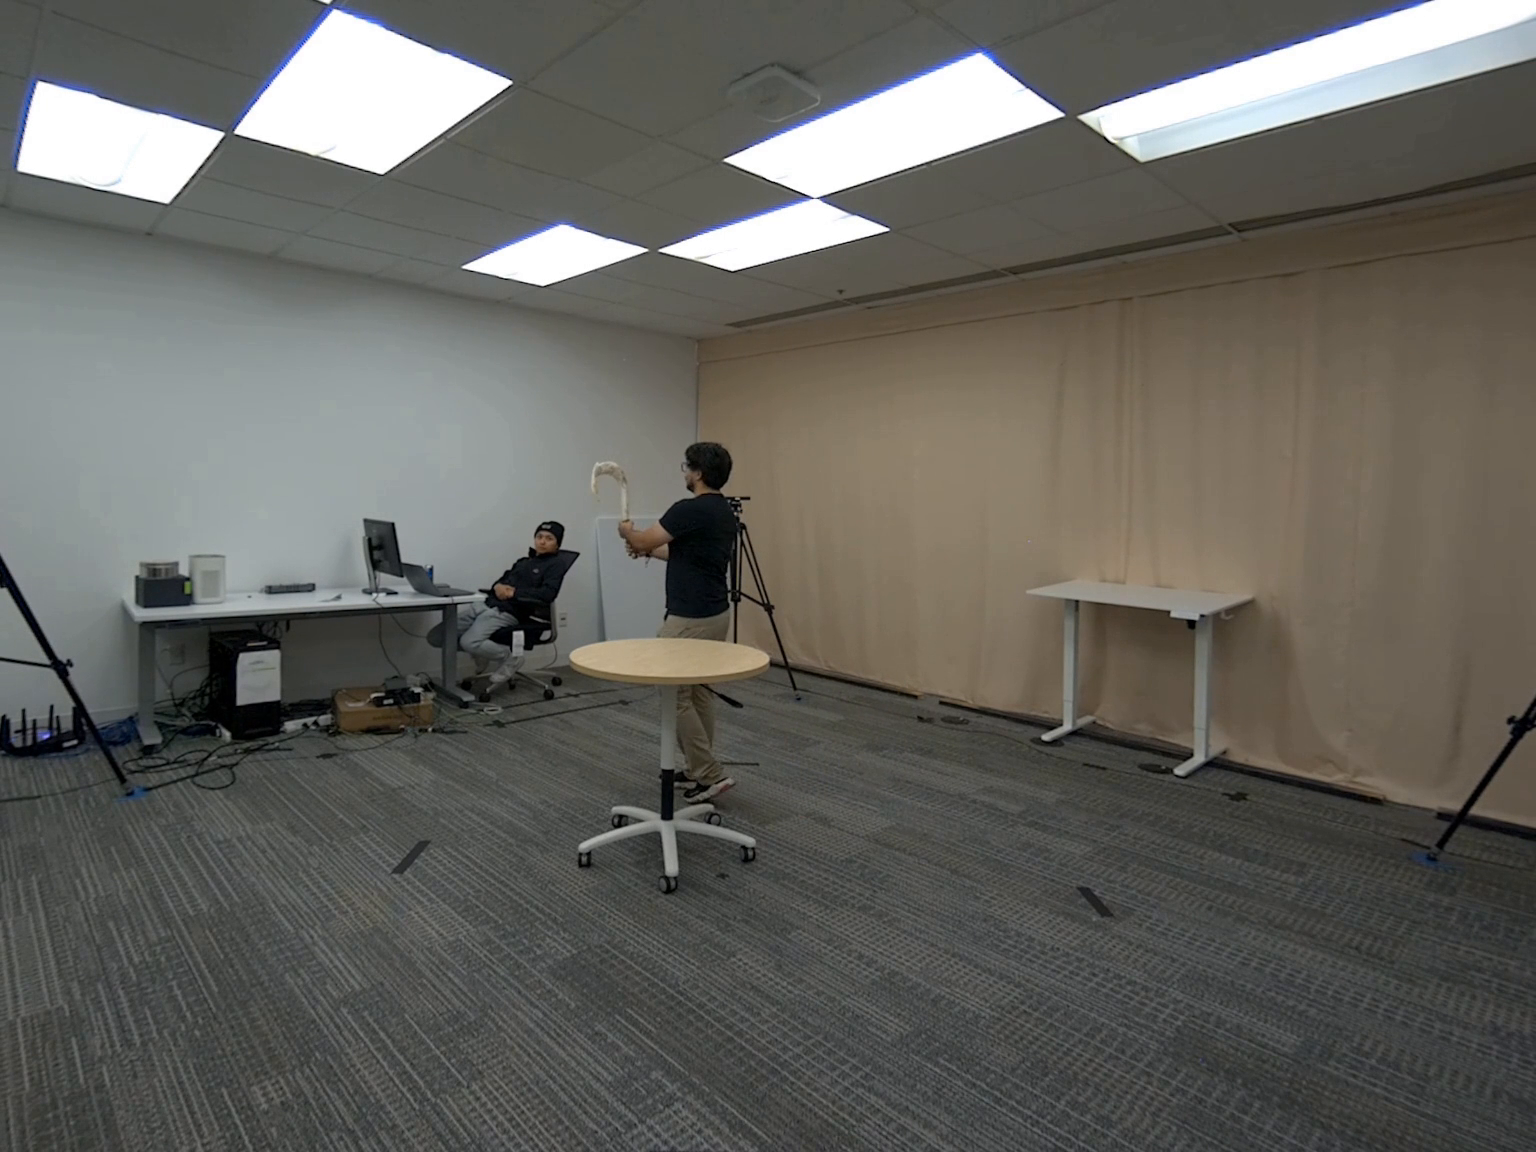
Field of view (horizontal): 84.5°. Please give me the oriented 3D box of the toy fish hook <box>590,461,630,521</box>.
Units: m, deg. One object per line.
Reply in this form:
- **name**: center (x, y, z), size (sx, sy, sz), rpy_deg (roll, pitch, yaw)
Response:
- **toy fish hook**: center (-0.765, -0.323, 4.195), size (0.220, 0.507, 0.049), rpy_deg (-13, -3, -39)
